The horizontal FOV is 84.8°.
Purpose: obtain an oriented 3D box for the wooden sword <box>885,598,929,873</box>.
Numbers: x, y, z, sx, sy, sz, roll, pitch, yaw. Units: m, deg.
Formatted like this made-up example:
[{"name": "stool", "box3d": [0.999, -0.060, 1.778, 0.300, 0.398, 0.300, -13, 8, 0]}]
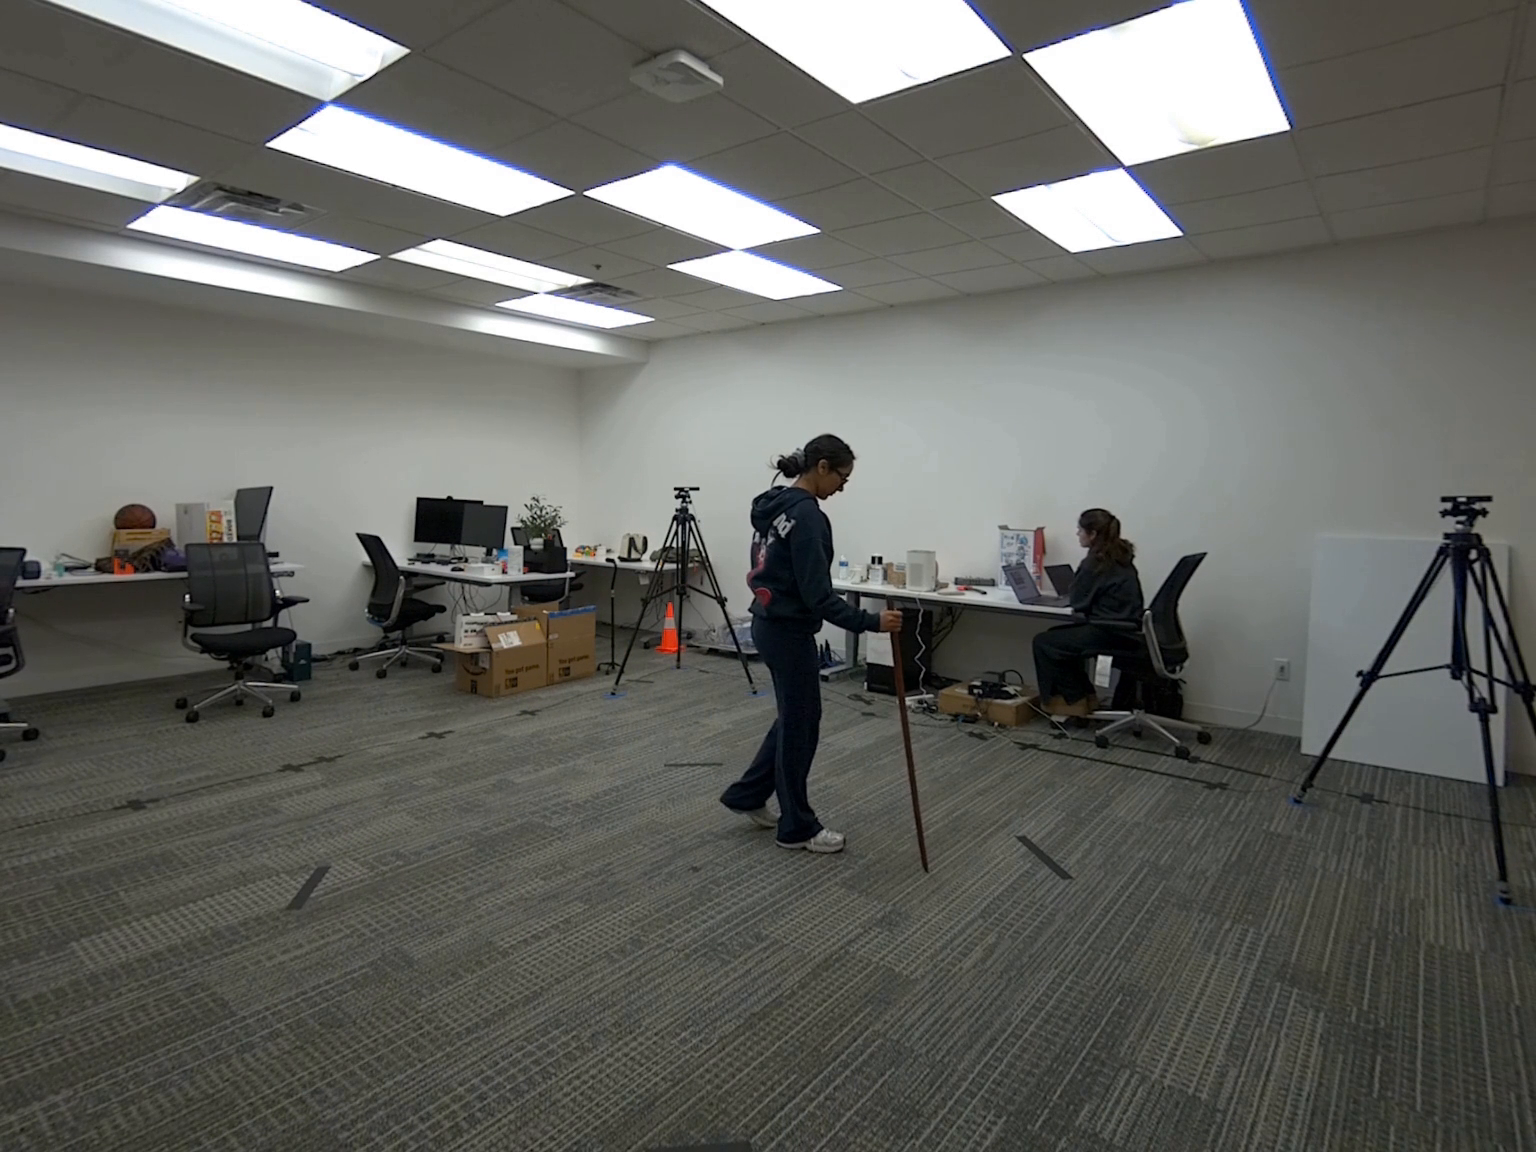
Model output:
[{"name": "wooden sword", "box3d": [0.507, 0.581, 3.115, 0.023, 1.020, 0.052, -8, 4, -22]}]
